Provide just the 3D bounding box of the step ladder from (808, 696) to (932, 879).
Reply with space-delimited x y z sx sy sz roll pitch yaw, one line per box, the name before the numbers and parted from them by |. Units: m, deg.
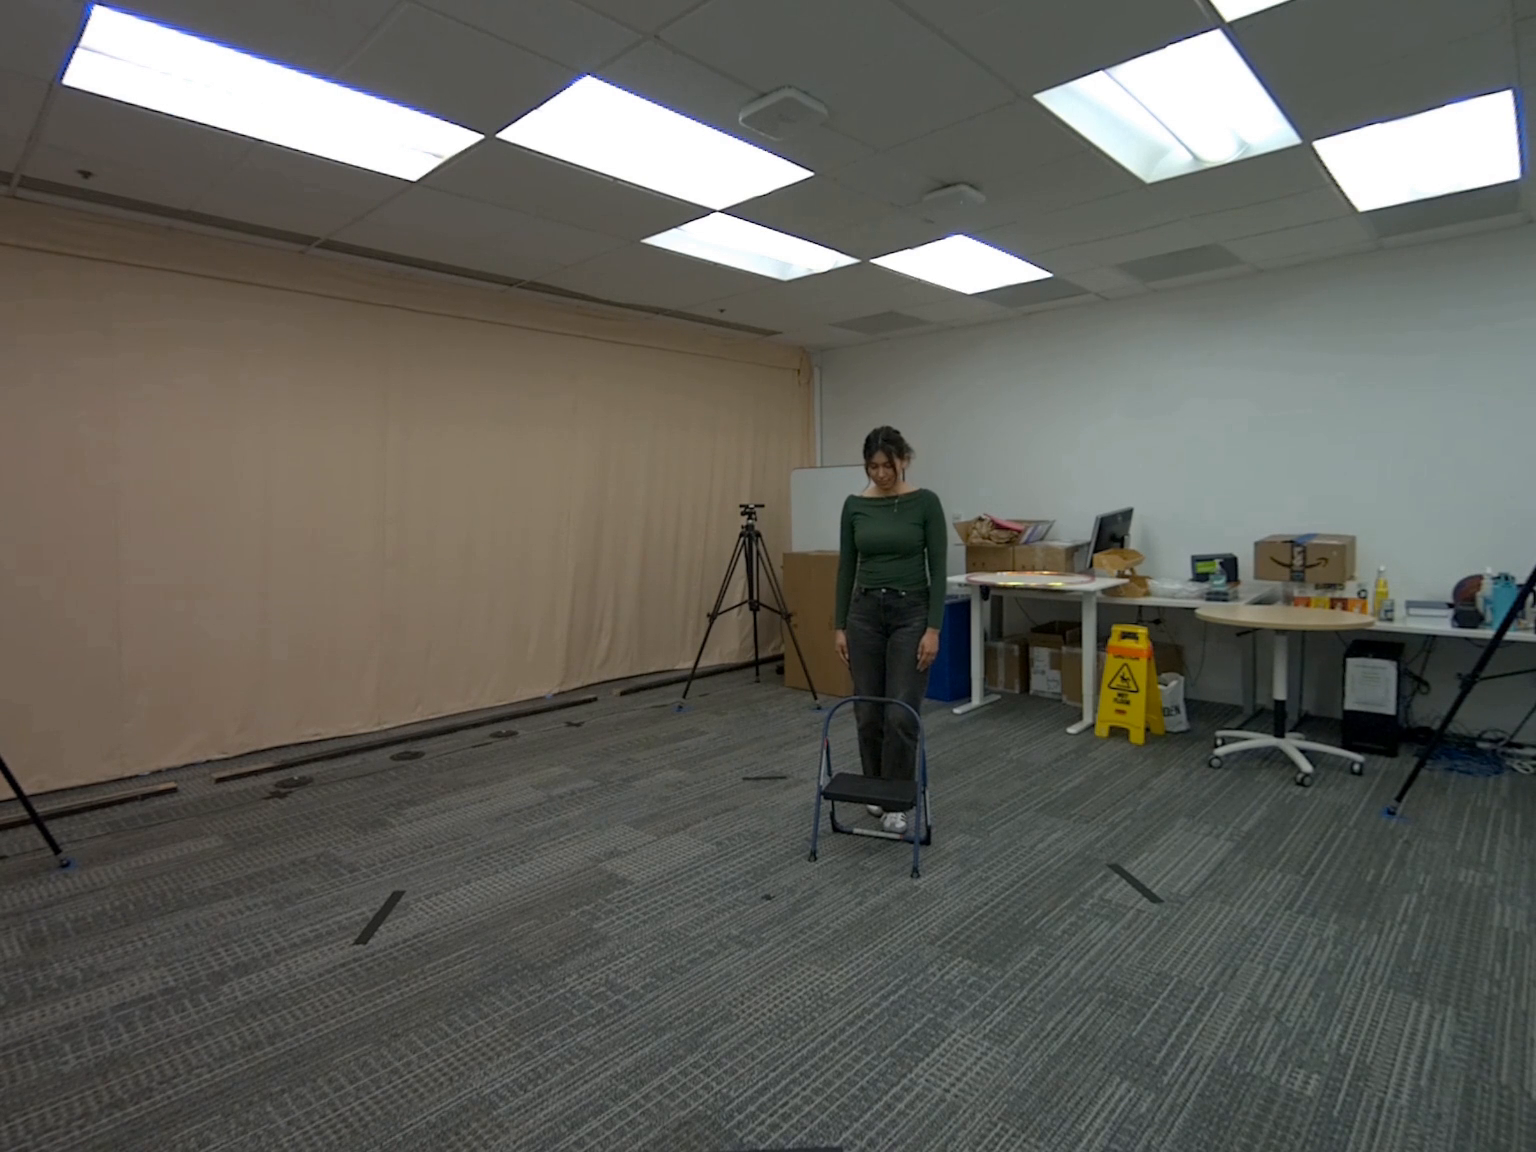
step ladder | 0.413 0.797 3.340 0.440 0.605 0.342 1 3 22
